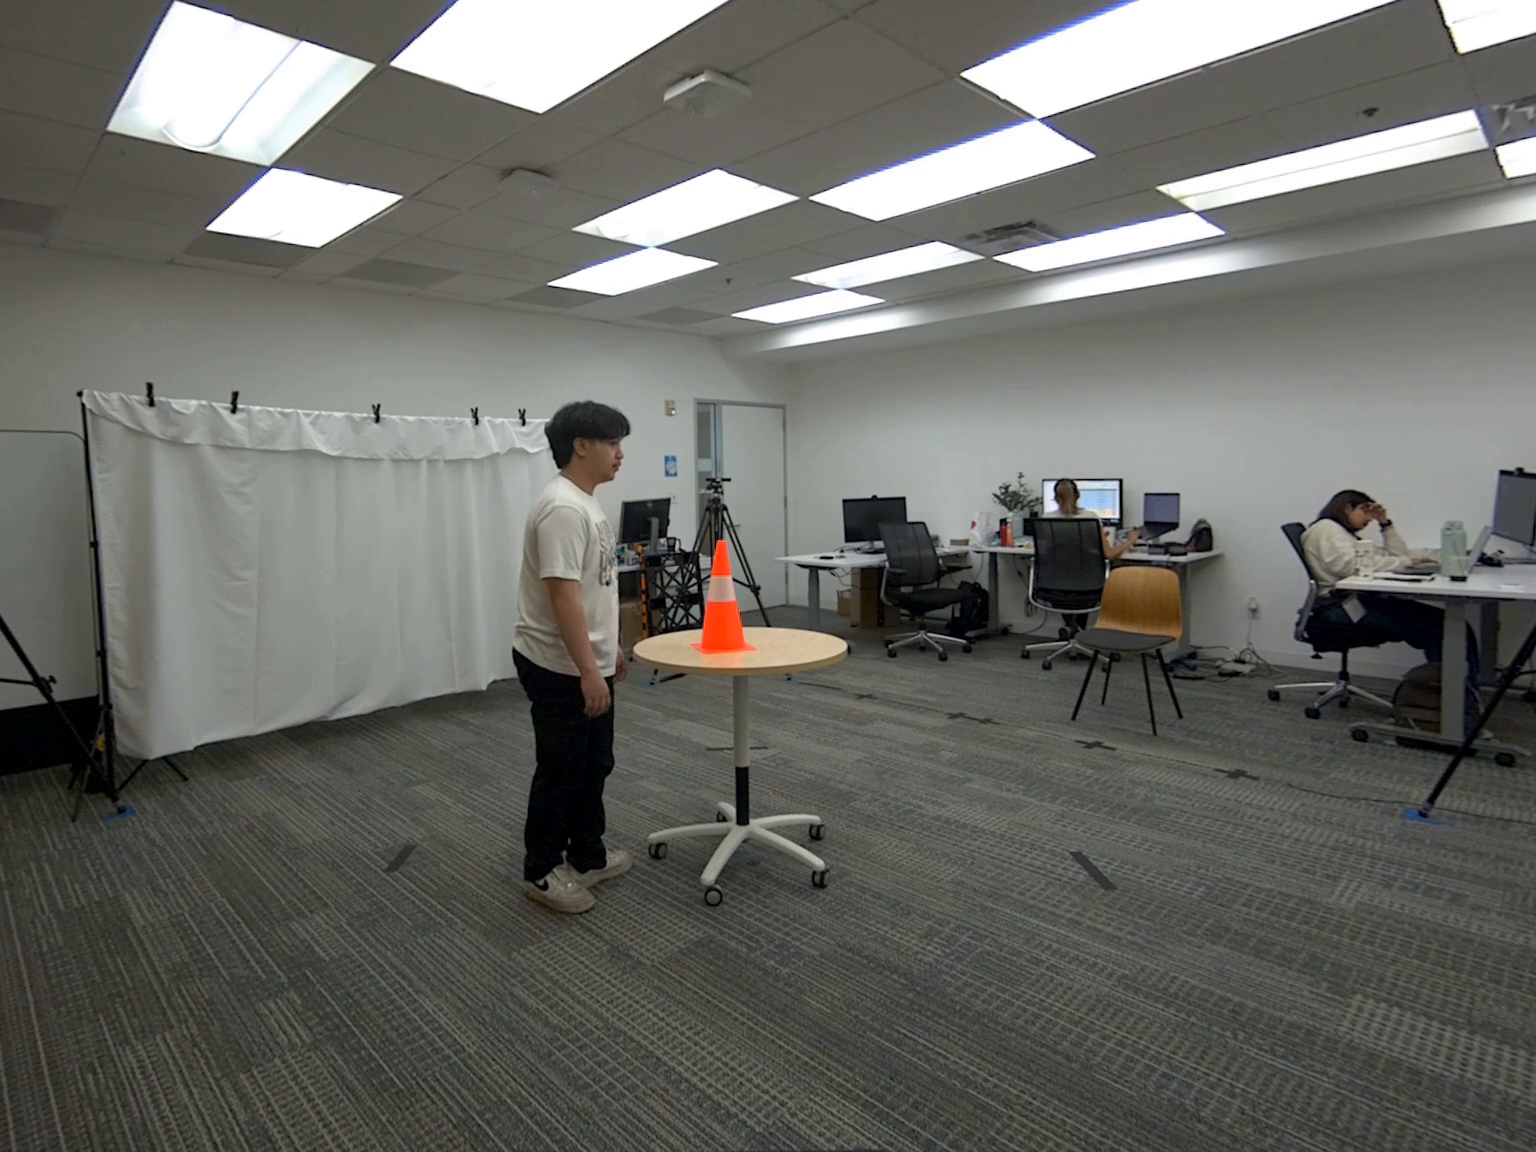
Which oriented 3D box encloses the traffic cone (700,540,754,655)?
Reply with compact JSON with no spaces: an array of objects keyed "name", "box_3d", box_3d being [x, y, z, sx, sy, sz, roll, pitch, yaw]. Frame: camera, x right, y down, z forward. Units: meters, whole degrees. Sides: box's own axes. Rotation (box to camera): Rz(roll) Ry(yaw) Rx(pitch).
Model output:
[{"name":"traffic cone","box_3d":[-0.169,0.067,3.037,0.199,0.383,0.210,-1,2,-26]}]
